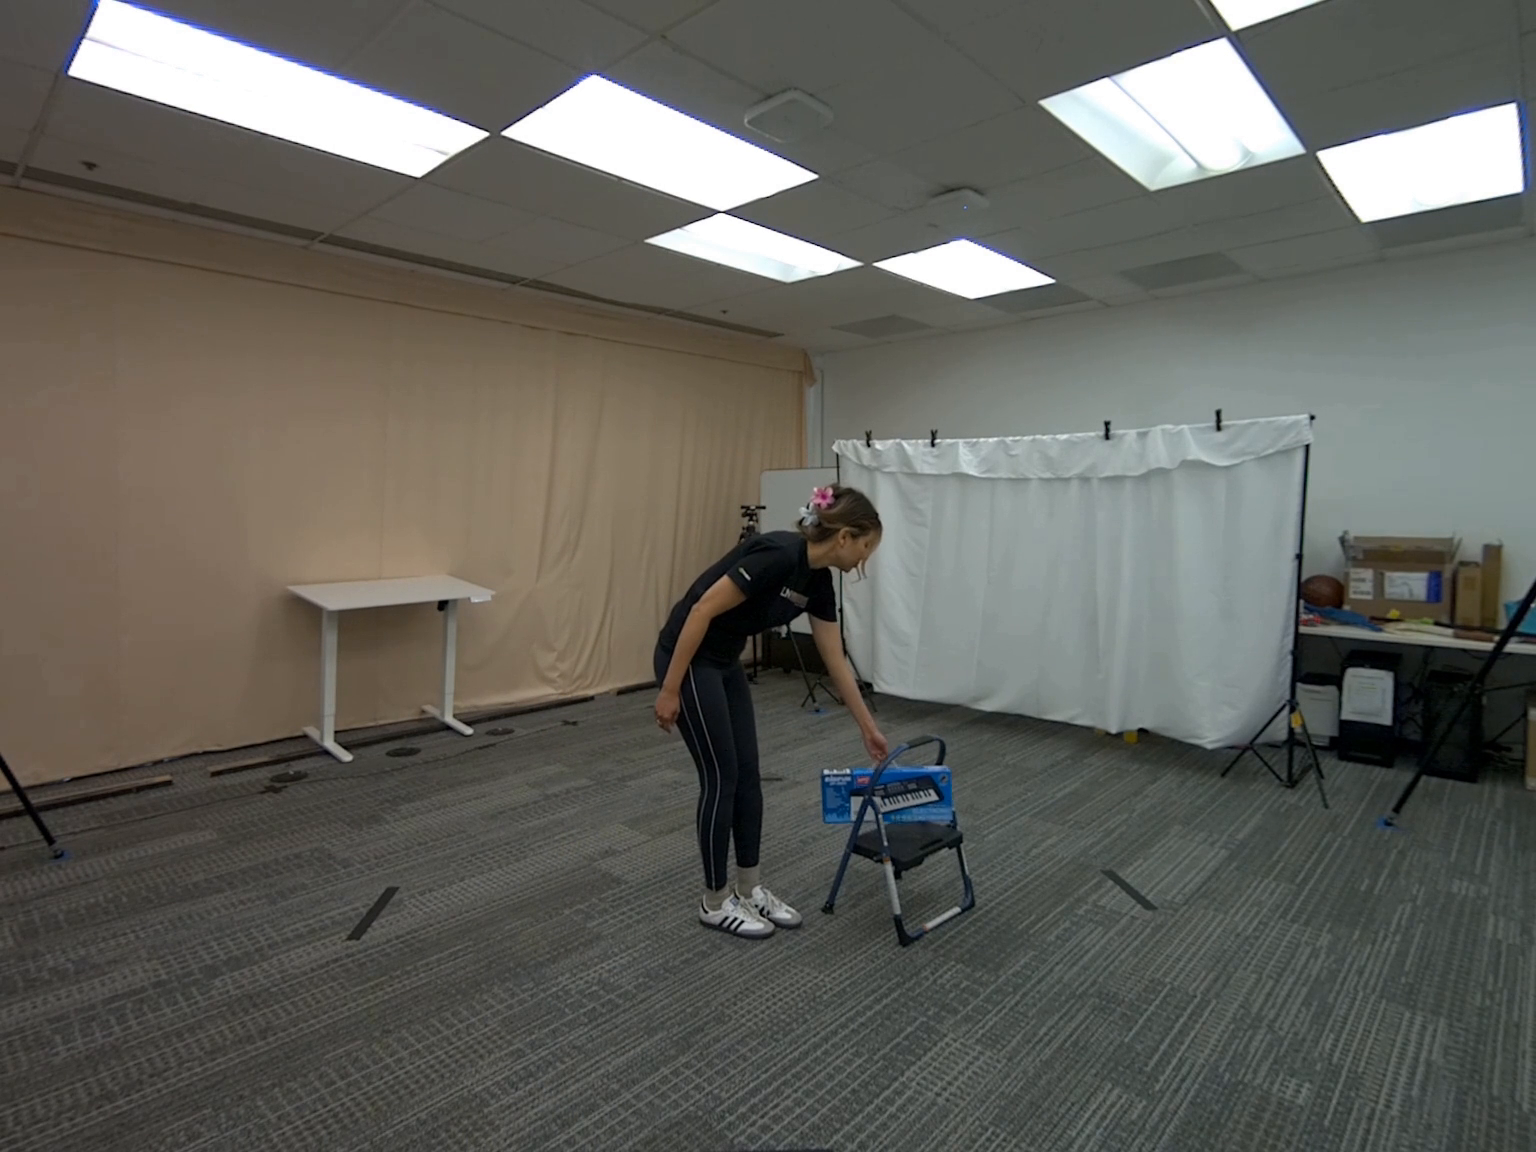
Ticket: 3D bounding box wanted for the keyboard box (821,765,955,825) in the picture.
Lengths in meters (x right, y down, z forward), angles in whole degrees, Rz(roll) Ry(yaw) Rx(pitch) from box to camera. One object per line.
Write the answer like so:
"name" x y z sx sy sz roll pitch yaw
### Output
"keyboard box" 0.402 0.752 2.896 0.438 0.175 0.059 -2 3 3
